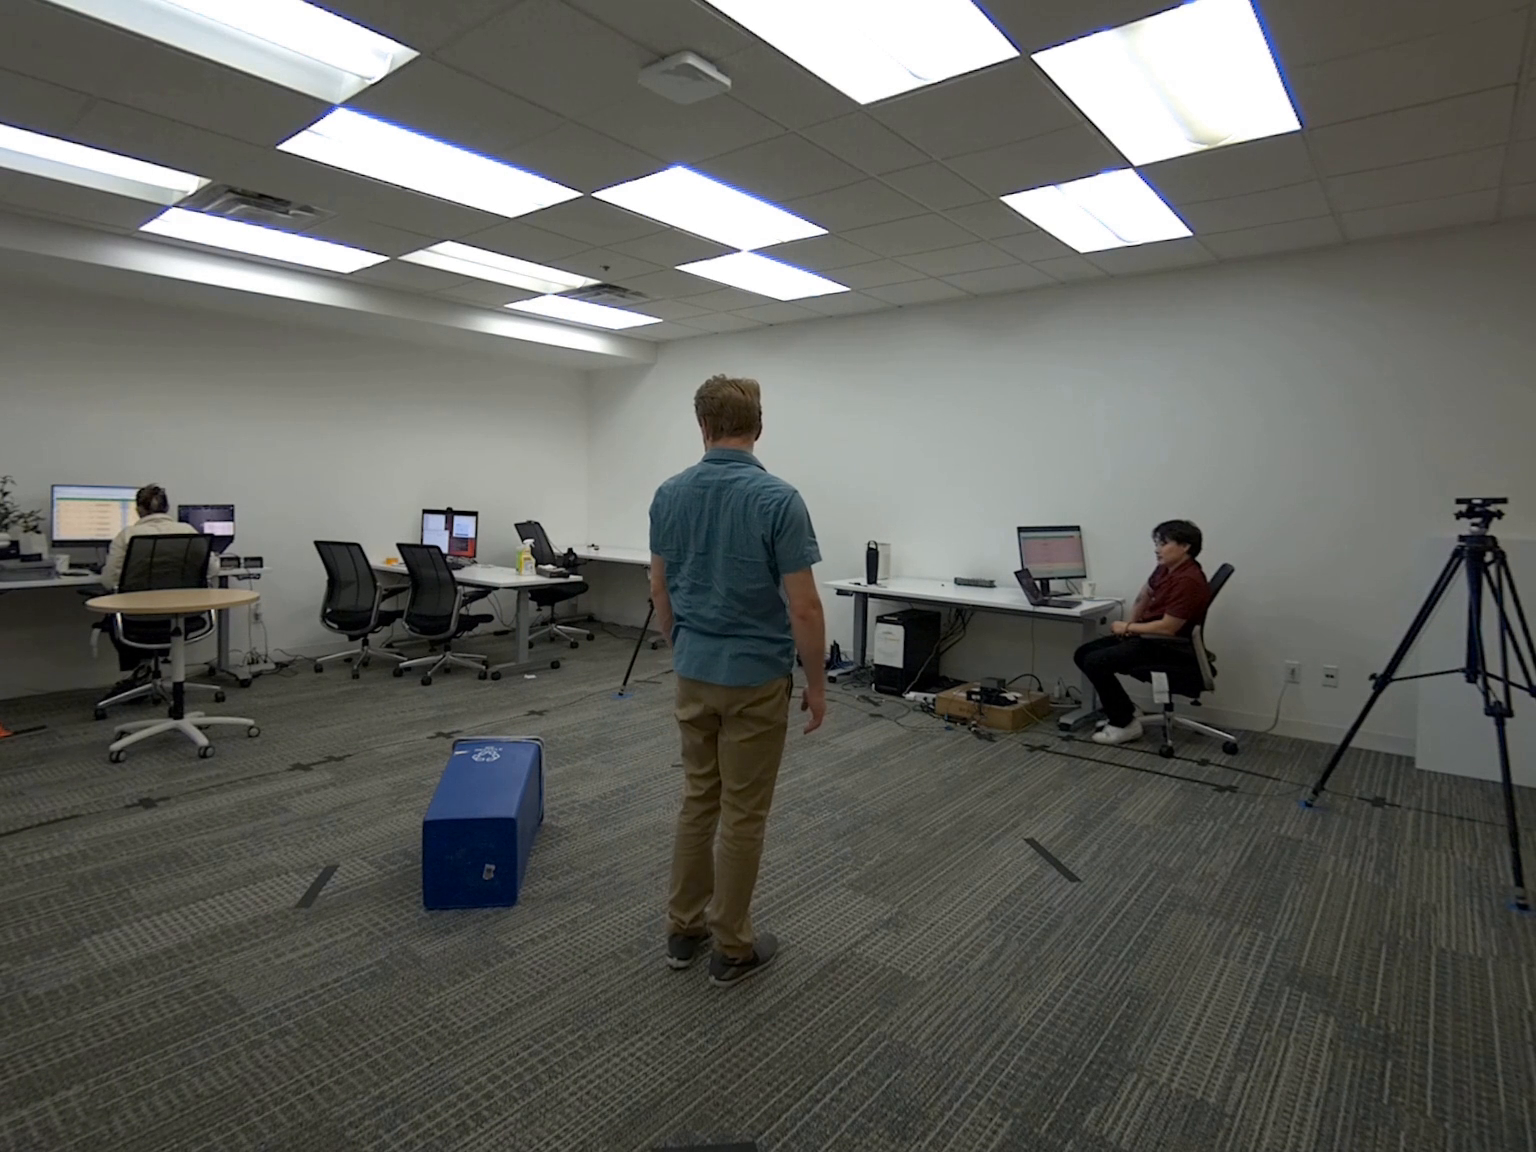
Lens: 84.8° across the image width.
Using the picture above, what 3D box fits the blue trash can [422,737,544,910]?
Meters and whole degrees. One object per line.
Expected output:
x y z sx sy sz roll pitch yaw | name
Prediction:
-1.047 0.889 3.129 0.370 0.376 0.725 1 8 -10 | blue trash can
